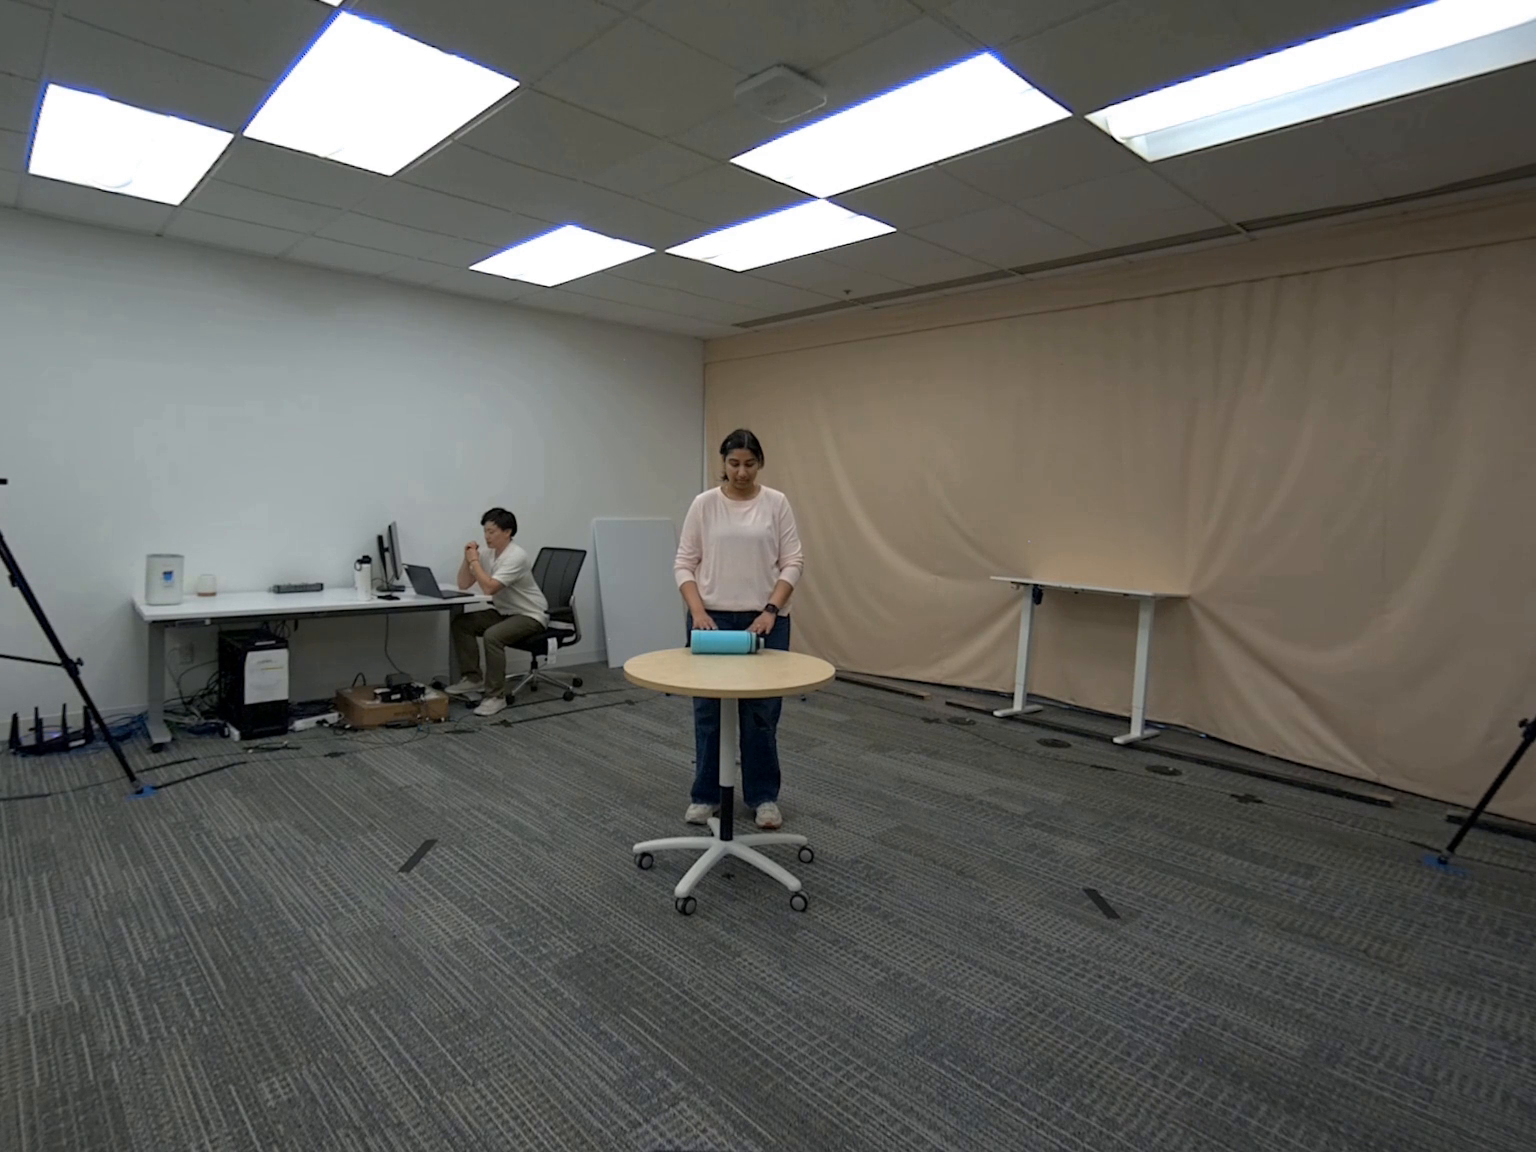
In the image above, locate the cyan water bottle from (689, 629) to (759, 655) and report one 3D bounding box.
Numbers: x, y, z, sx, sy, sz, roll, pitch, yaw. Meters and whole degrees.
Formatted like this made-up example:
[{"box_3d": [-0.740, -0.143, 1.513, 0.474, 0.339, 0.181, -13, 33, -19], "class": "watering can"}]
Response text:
[{"box_3d": [-0.171, 0.258, 3.286, 0.282, 0.092, 0.093, 0, 4, -5], "class": "cyan water bottle"}]
